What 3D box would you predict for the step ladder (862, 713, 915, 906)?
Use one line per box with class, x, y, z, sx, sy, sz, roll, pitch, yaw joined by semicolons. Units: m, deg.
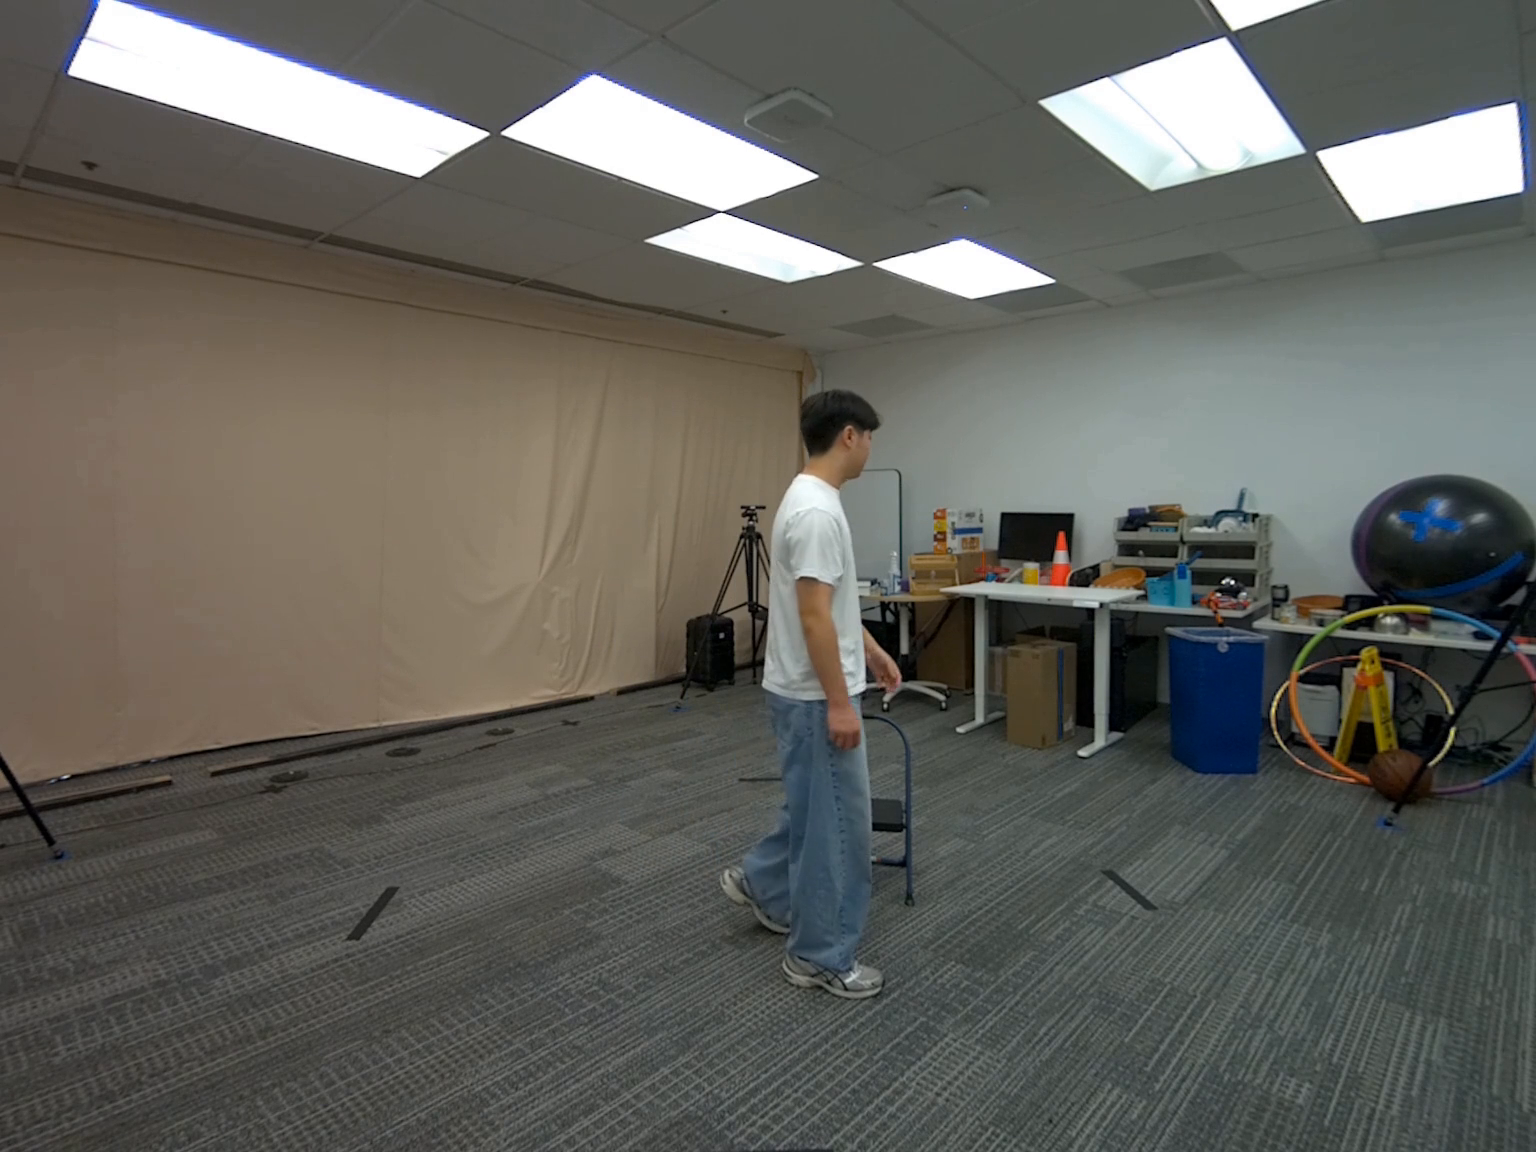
step ladder;0.331;0.826;3.125;0.436;0.605;0.346;1;3;10
